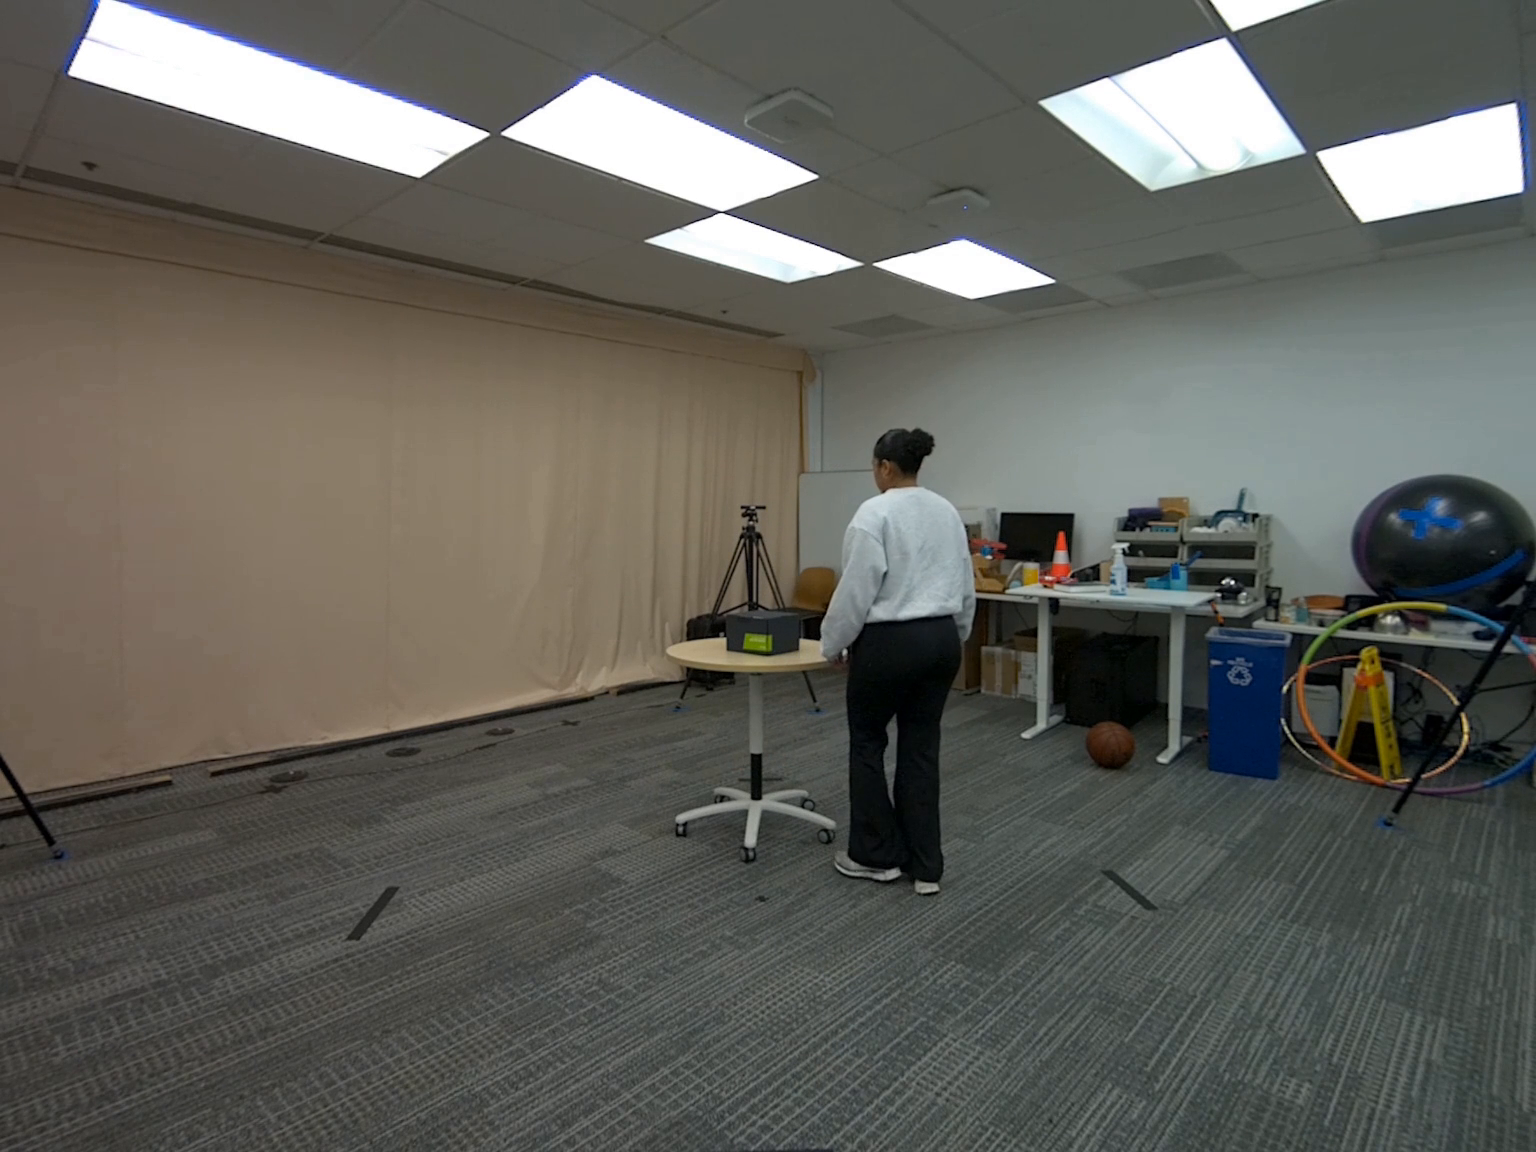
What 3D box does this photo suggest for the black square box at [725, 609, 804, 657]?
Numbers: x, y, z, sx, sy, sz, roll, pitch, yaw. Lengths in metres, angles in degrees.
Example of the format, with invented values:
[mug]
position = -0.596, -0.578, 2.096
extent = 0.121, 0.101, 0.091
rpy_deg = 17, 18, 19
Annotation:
[black square box]
position = -0.021, 0.235, 3.546
extent = 0.235, 0.155, 0.210
rpy_deg = 3, 5, 41
